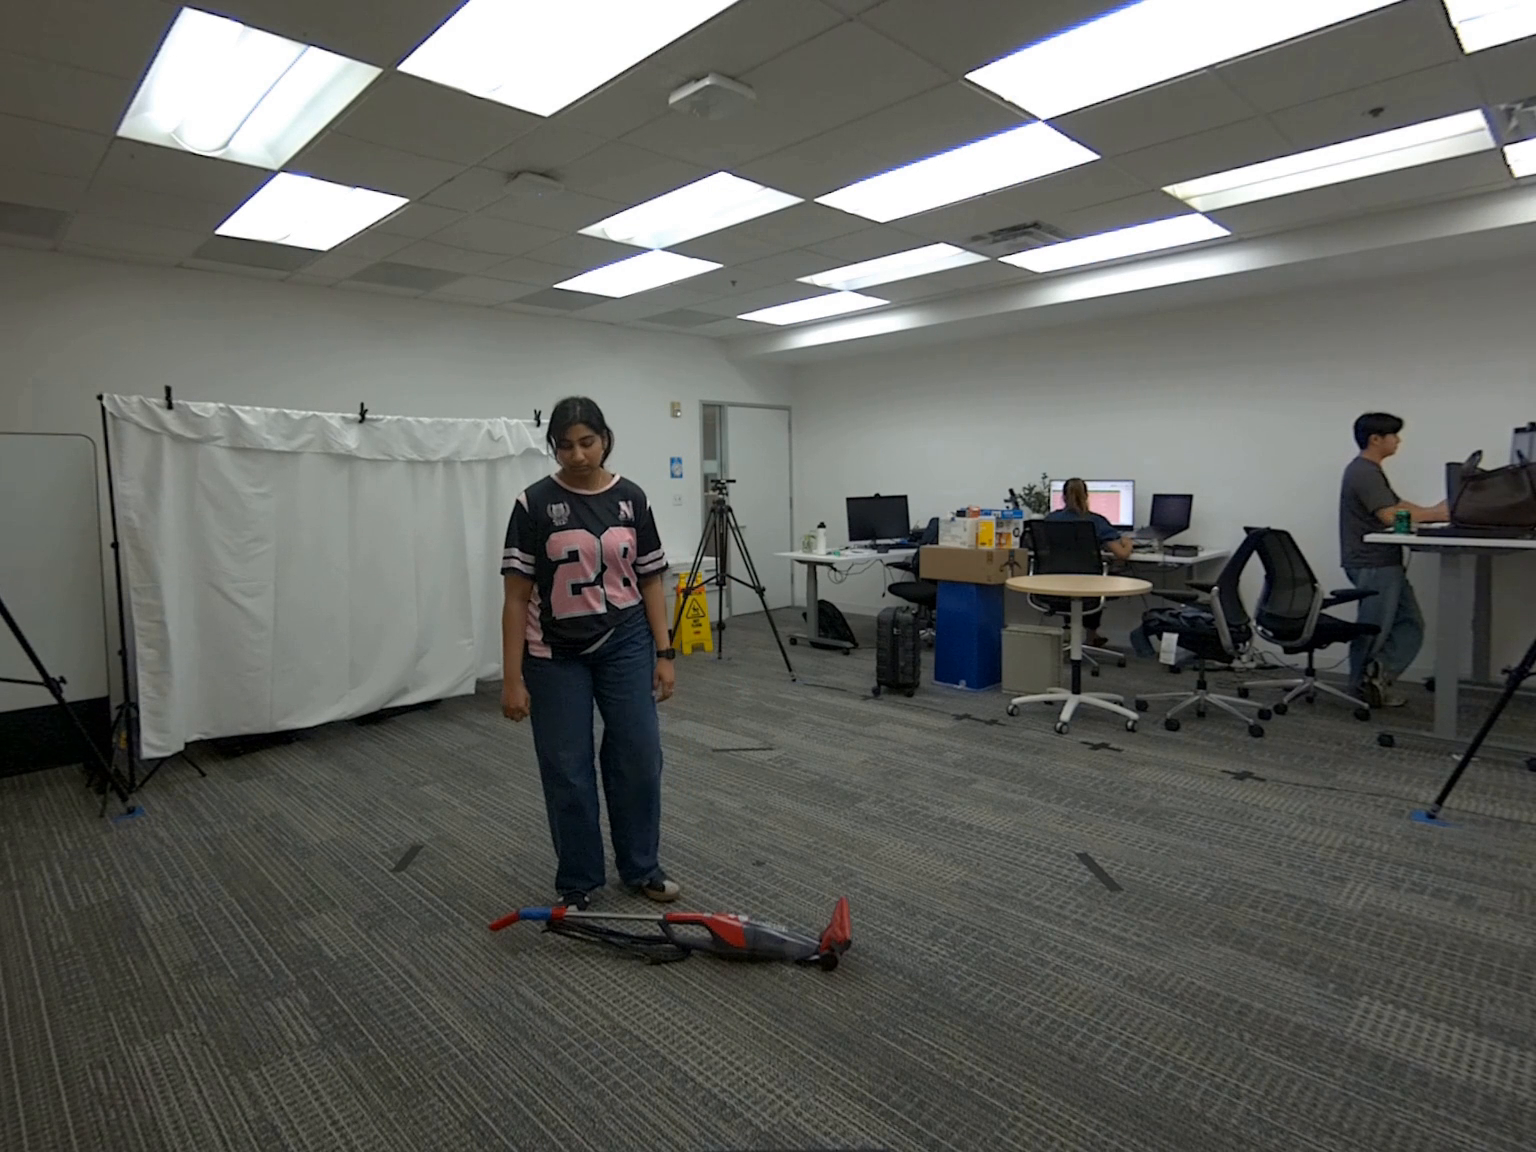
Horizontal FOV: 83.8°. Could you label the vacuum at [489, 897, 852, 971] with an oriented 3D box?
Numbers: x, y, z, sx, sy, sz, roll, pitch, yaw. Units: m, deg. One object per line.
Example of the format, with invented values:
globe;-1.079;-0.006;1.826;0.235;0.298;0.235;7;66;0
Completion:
vacuum;-0.314;1.056;2.531;1.054;0.143;0.252;-1;6;5
